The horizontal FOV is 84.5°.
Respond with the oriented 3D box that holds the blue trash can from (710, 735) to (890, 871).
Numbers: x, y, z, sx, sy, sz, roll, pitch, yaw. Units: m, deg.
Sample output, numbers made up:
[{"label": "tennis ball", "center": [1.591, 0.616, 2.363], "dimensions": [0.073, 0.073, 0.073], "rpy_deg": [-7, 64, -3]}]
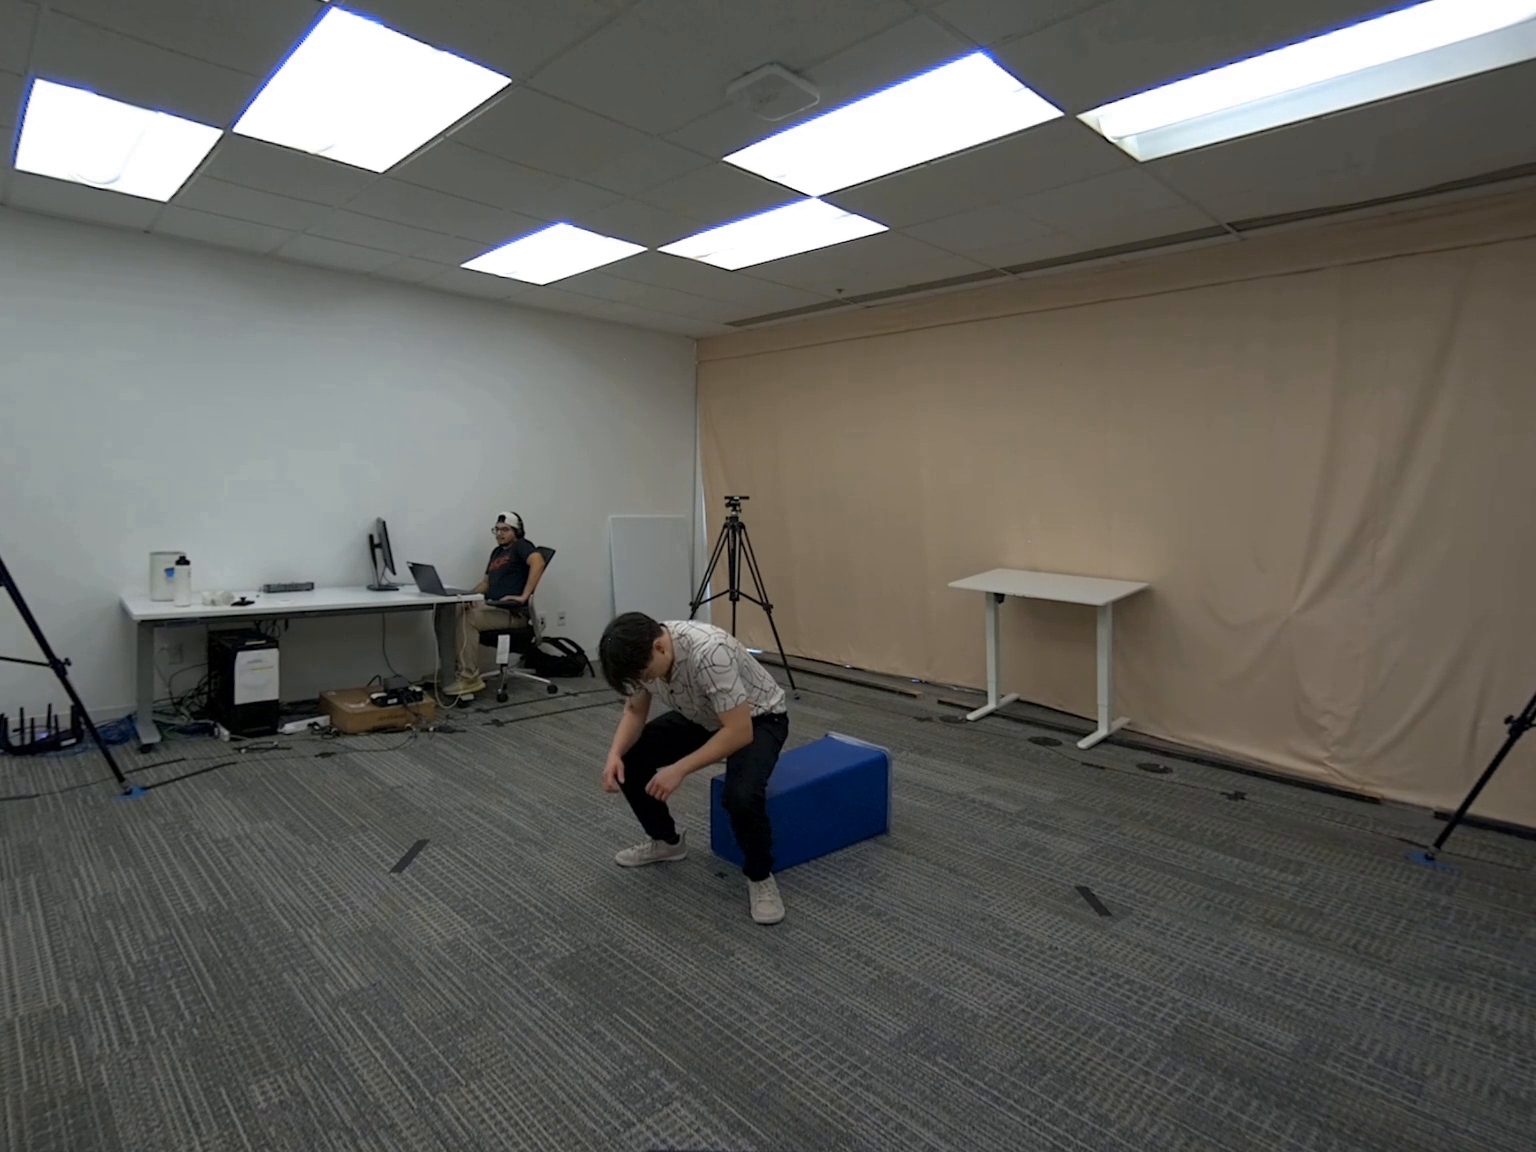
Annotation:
[{"label": "blue trash can", "center": [0.121, 0.910, 3.411], "dimensions": [0.698, 0.377, 0.384], "rpy_deg": [-5, 7, -41]}]
